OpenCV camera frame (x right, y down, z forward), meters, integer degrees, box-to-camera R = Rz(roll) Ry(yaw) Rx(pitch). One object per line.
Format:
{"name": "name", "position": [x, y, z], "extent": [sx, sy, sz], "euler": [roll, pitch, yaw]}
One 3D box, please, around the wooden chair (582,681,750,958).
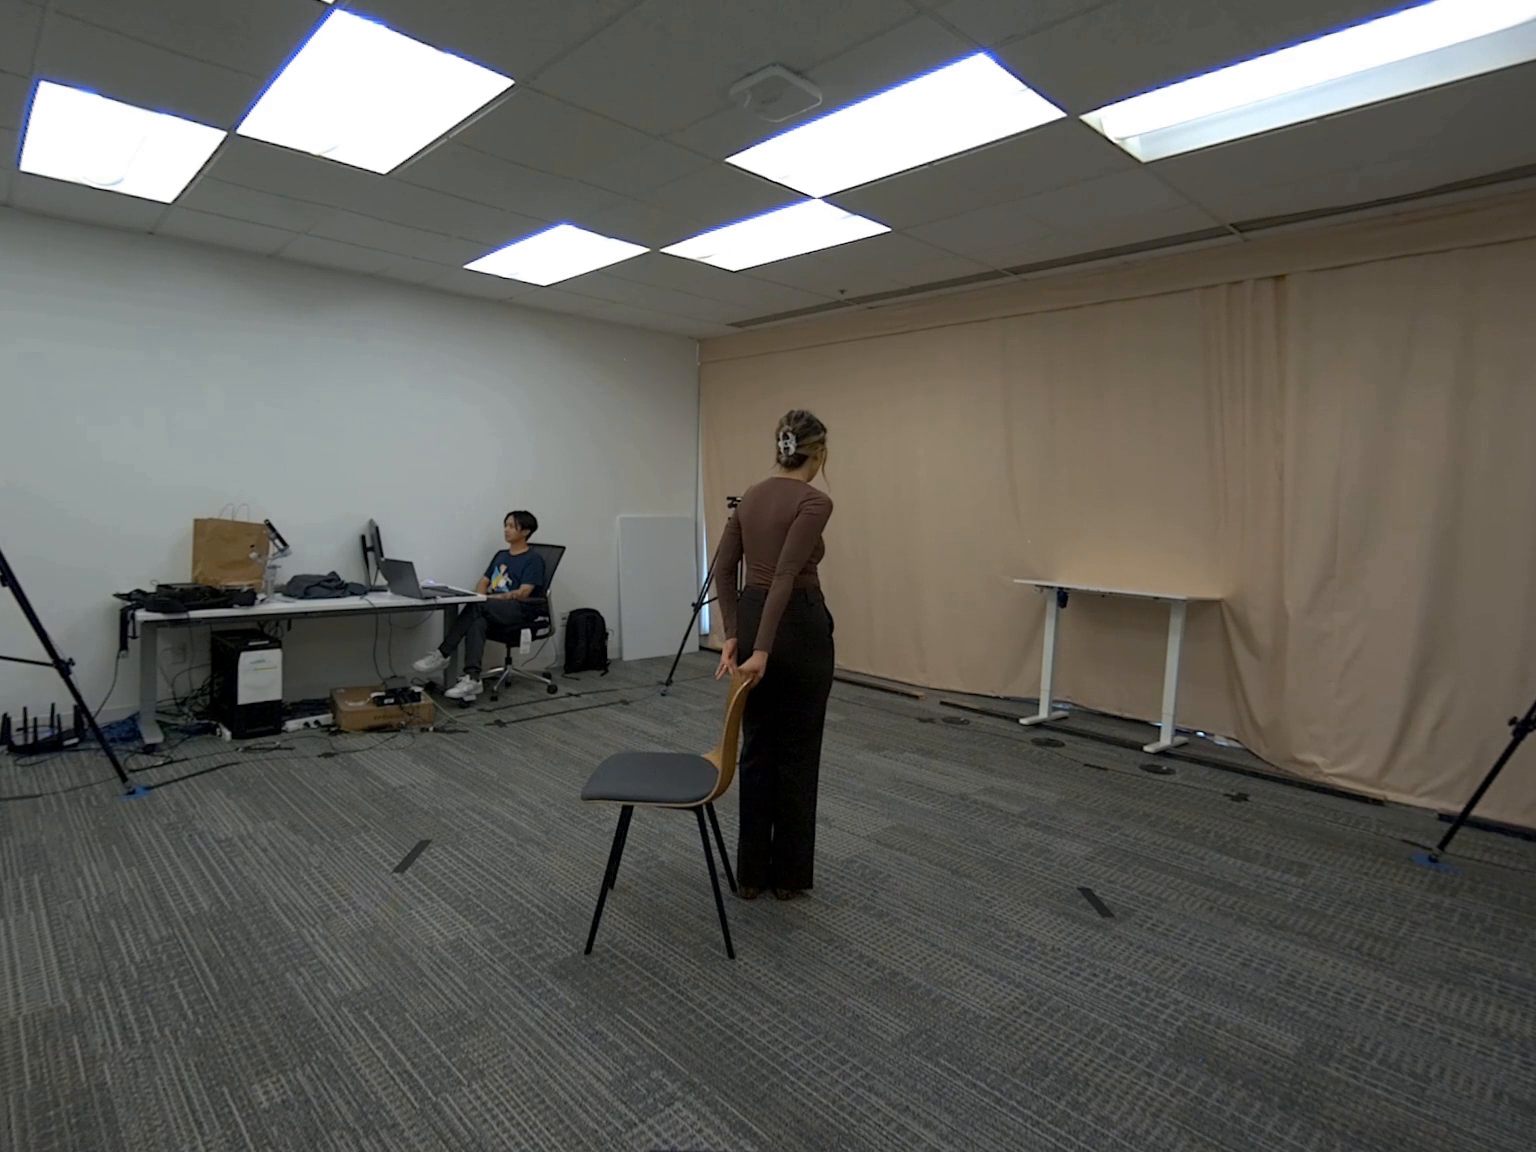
{"name": "wooden chair", "position": [-0.330, 0.705, 2.722], "extent": [0.523, 0.875, 0.479], "euler": [6, 4, -1]}
